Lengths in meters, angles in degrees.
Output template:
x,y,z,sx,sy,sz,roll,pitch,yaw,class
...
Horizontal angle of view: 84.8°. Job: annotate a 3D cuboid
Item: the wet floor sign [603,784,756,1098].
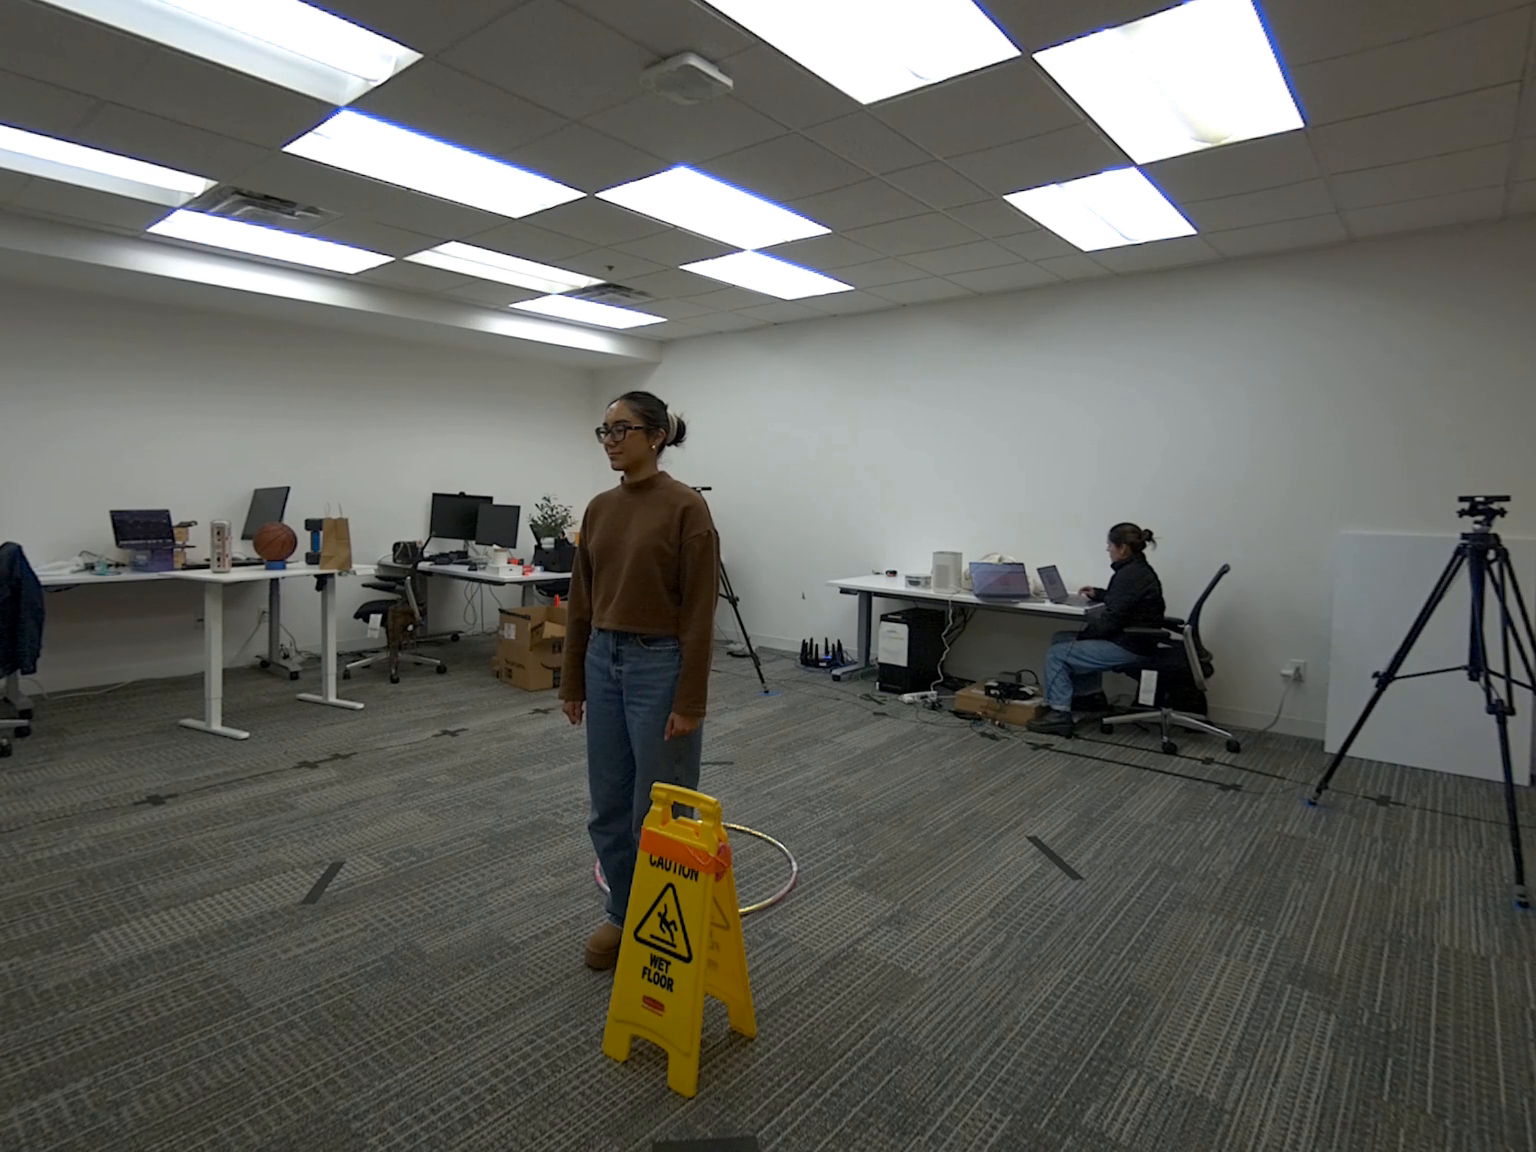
x,y,z,sx,sy,sz,roll,pitch,yaw,class
-0.214,0.846,2.099,0.291,0.644,0.282,2,3,33,wet floor sign
